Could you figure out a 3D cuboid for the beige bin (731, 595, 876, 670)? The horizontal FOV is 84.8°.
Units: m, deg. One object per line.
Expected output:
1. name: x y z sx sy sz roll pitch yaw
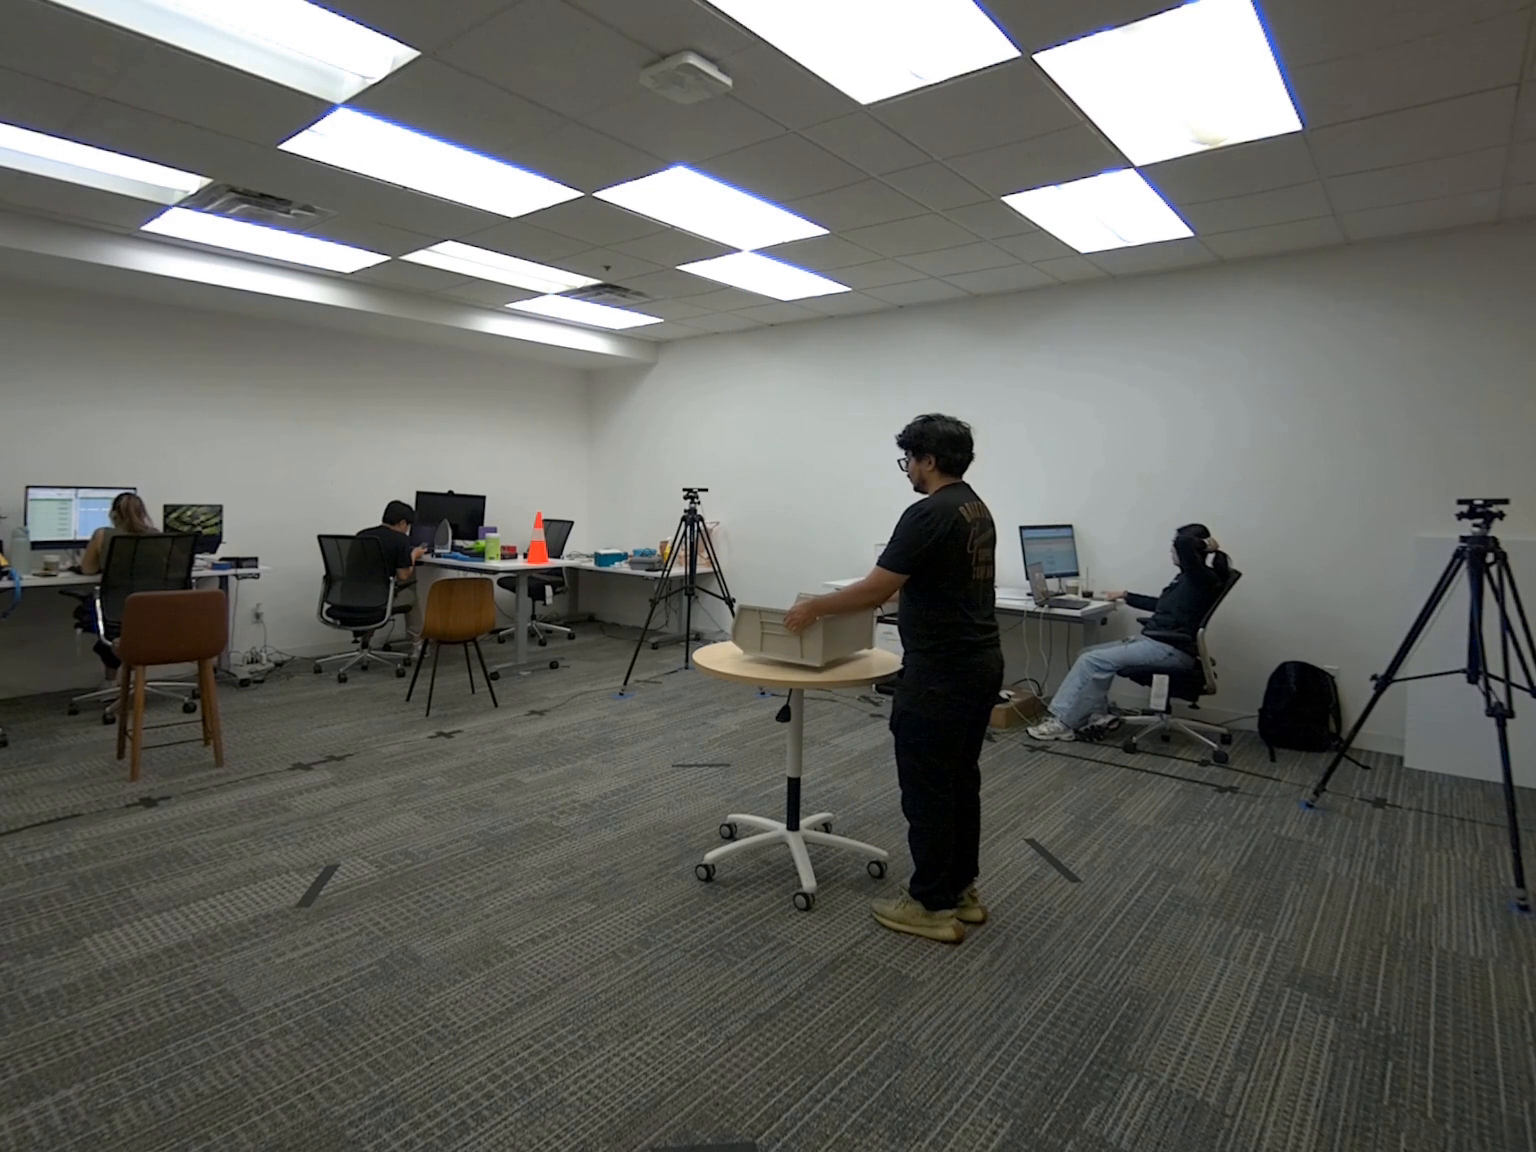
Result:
1. beige bin: 0.127 0.178 3.095 0.390 0.188 0.411 6 8 33
